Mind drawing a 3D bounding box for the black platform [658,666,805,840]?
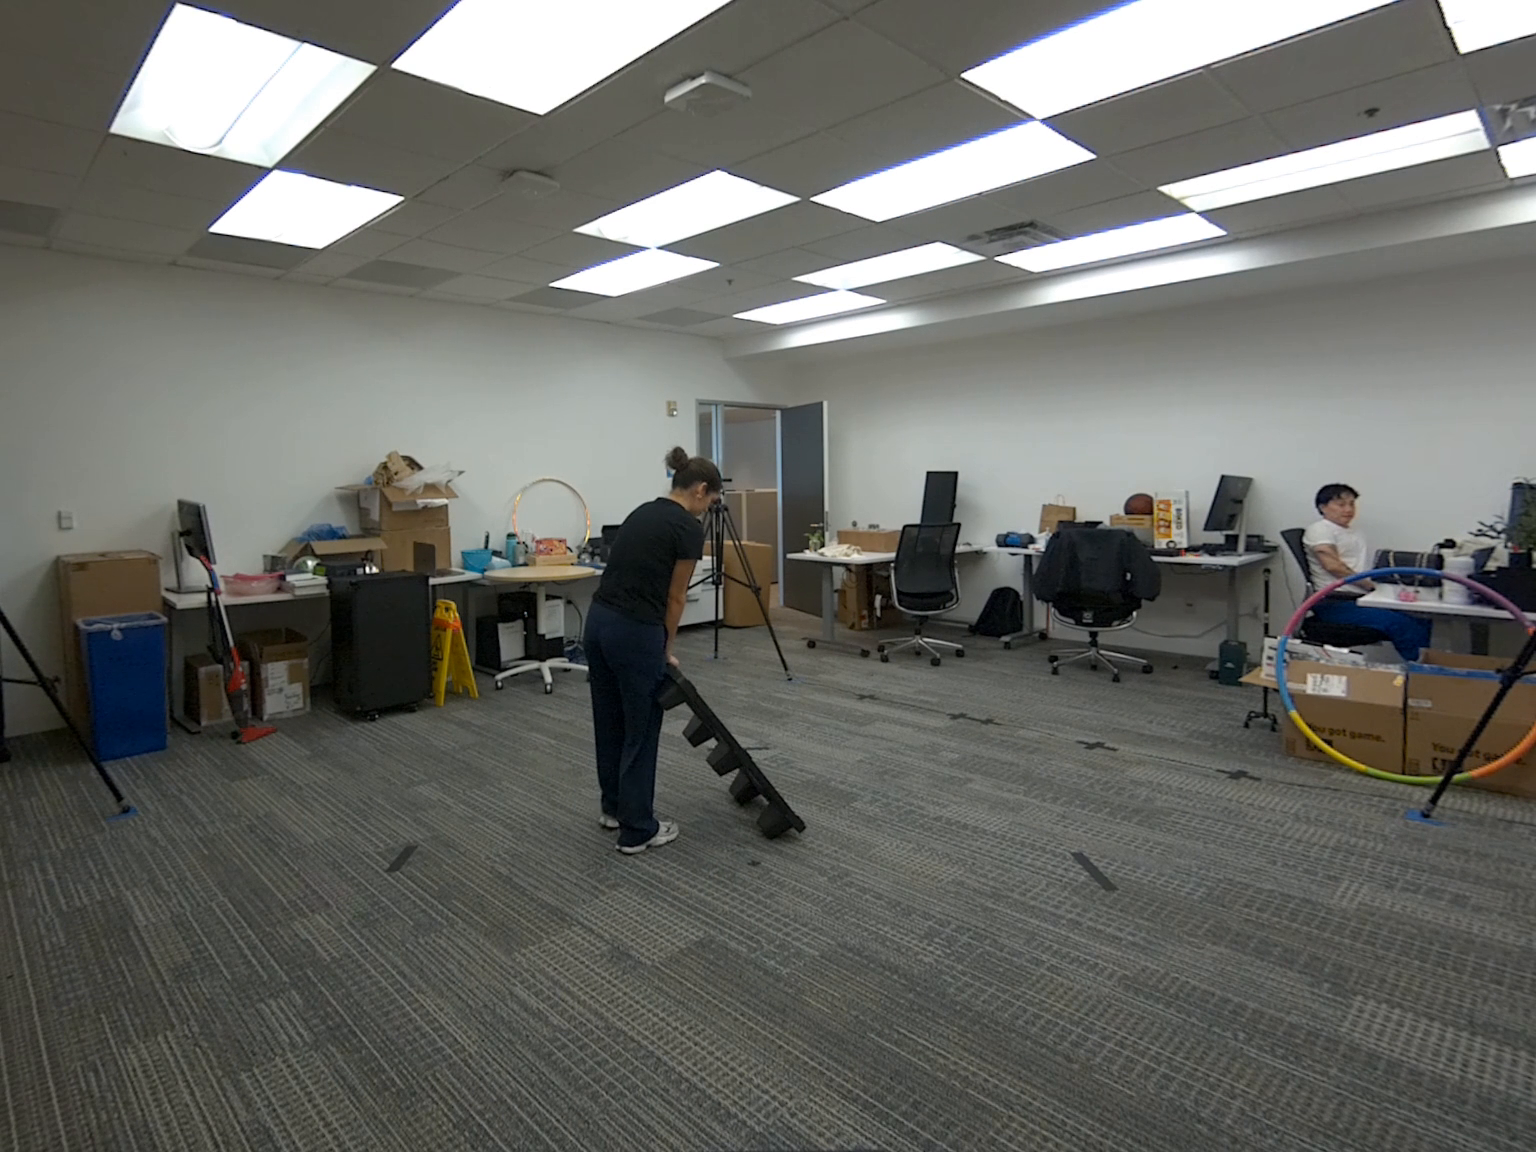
[{"bbox_3d":[-0.225,0.677,3.470,0.143,0.792,0.617,-39,14,-12],"label":"black platform"}]
